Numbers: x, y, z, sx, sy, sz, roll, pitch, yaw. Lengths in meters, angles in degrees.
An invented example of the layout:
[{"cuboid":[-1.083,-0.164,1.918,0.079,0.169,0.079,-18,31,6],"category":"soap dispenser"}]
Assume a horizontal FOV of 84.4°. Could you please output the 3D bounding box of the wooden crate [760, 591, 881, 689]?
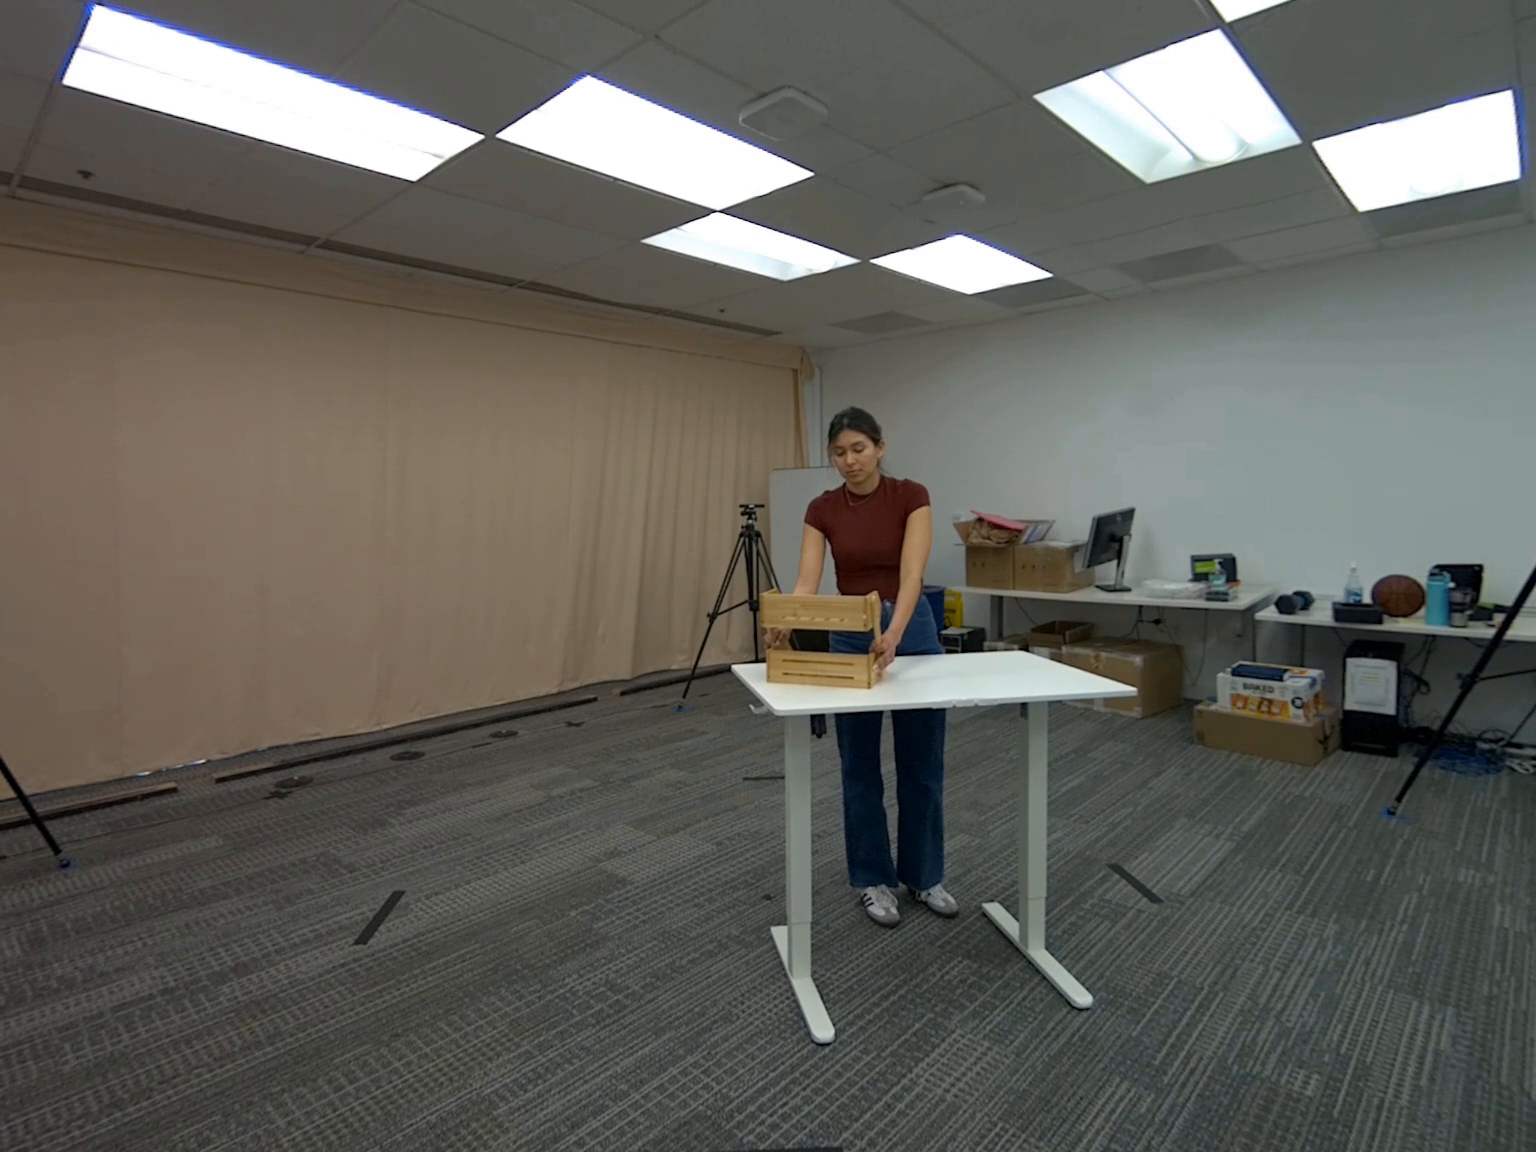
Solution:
[{"cuboid":[0.179,0.167,2.463,0.331,0.273,0.296,1,3,18],"category":"wooden crate"}]
